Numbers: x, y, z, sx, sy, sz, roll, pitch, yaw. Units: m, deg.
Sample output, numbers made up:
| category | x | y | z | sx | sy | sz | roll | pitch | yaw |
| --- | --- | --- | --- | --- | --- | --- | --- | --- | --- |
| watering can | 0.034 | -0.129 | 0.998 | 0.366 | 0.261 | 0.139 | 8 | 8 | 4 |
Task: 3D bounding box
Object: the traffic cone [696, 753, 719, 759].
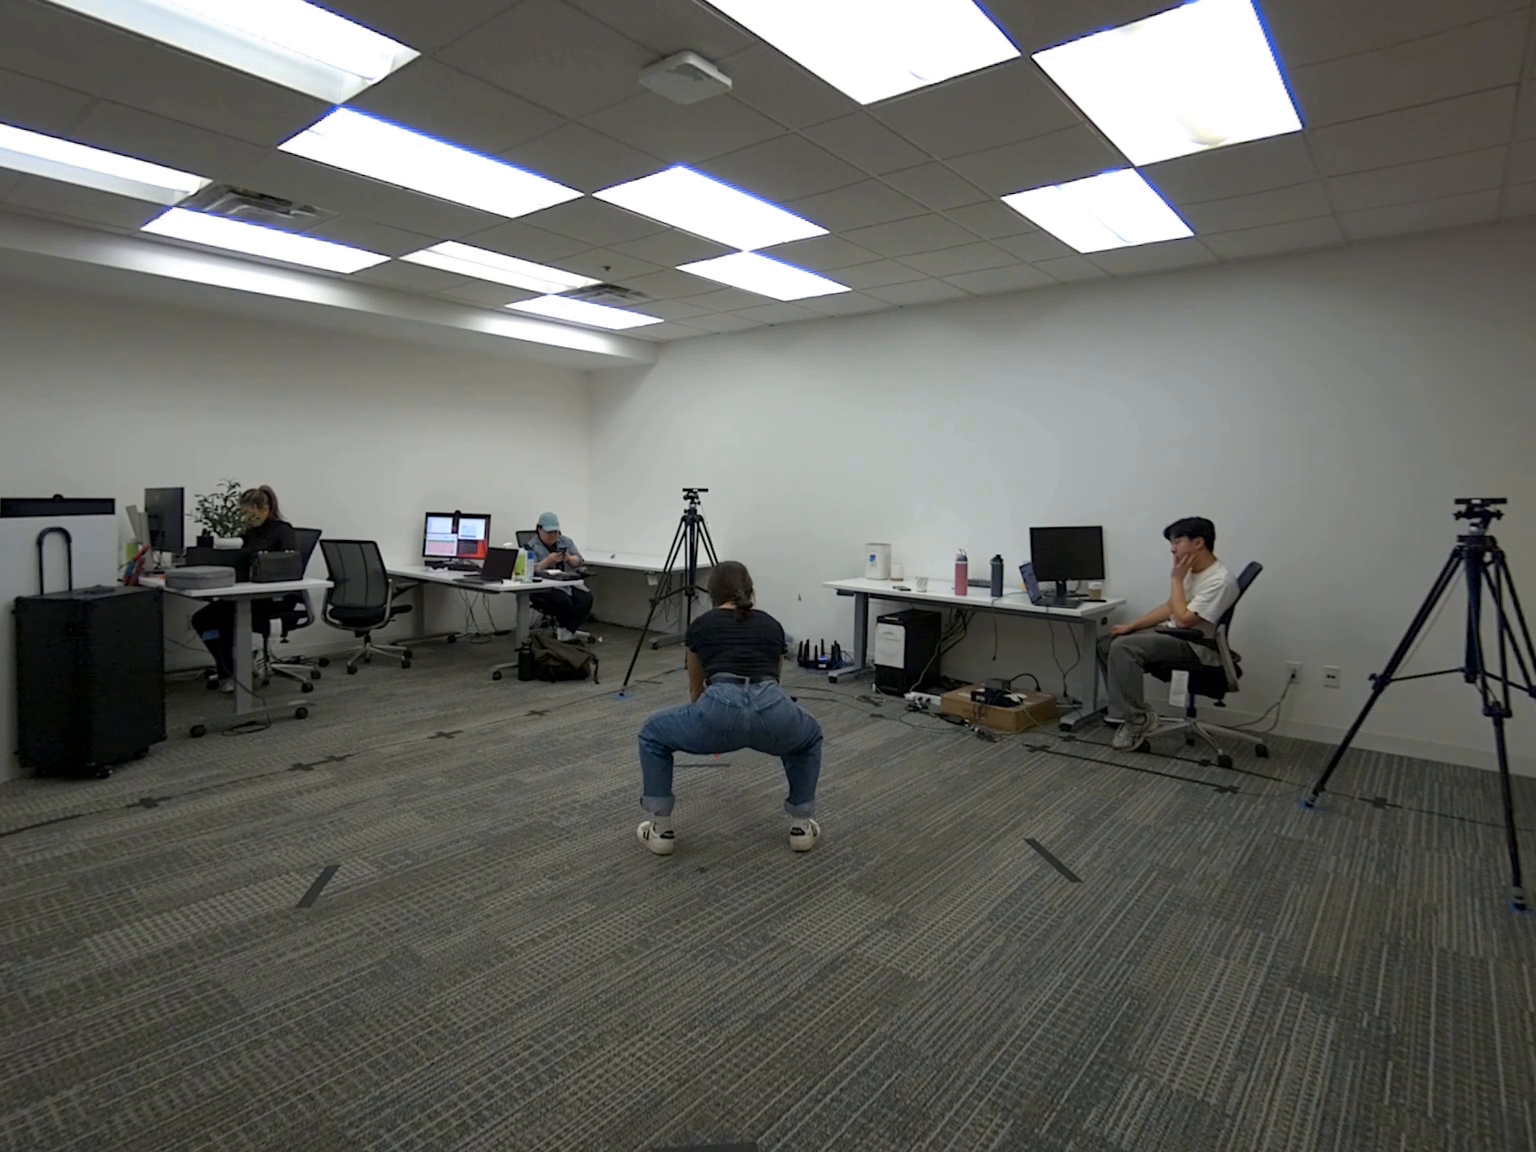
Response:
| category | x | y | z | sx | sy | sz | roll | pitch | yaw |
| --- | --- | --- | --- | --- | --- | --- | --- | --- | --- |
| traffic cone | -0.216 | 0.726 | 3.914 | 0.201 | 0.212 | 0.376 | -6 | -33 | -15 |
